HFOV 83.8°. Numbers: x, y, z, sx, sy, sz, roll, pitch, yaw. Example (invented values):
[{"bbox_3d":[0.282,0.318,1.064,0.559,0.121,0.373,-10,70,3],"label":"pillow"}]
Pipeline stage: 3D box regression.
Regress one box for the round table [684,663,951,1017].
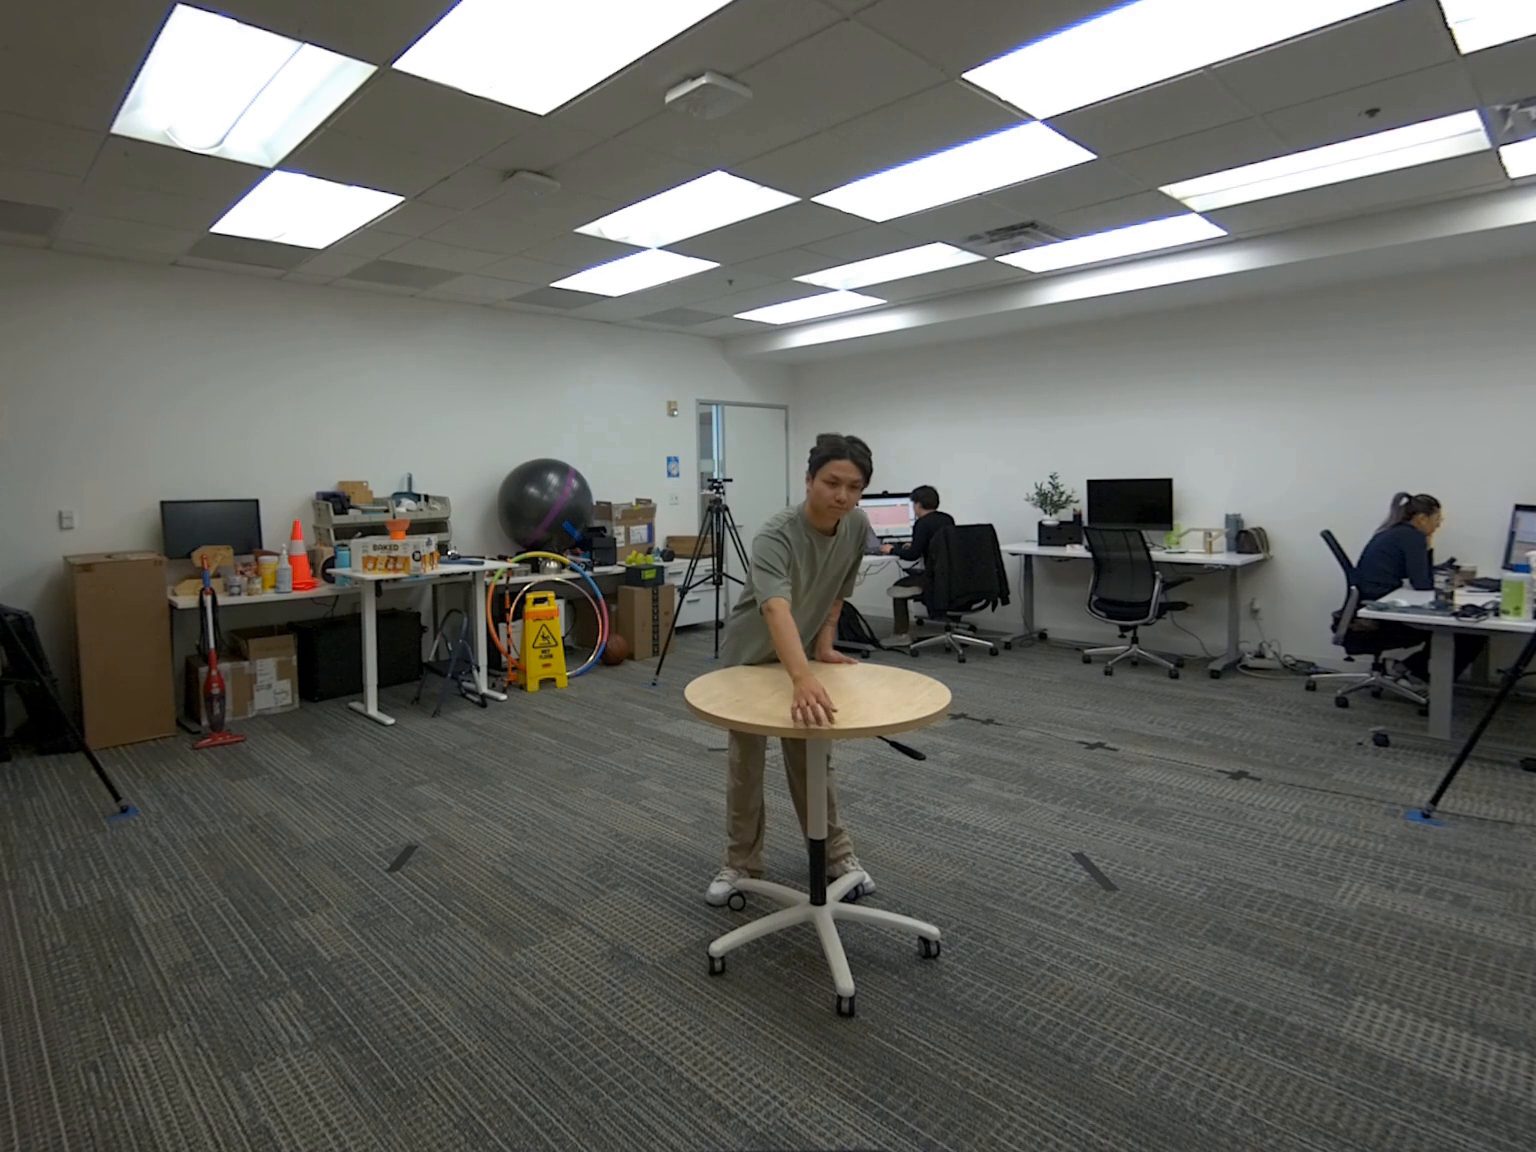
[{"bbox_3d":[0.157,0.721,2.509,0.784,0.783,0.790,-1,6,-2],"label":"round table"}]
